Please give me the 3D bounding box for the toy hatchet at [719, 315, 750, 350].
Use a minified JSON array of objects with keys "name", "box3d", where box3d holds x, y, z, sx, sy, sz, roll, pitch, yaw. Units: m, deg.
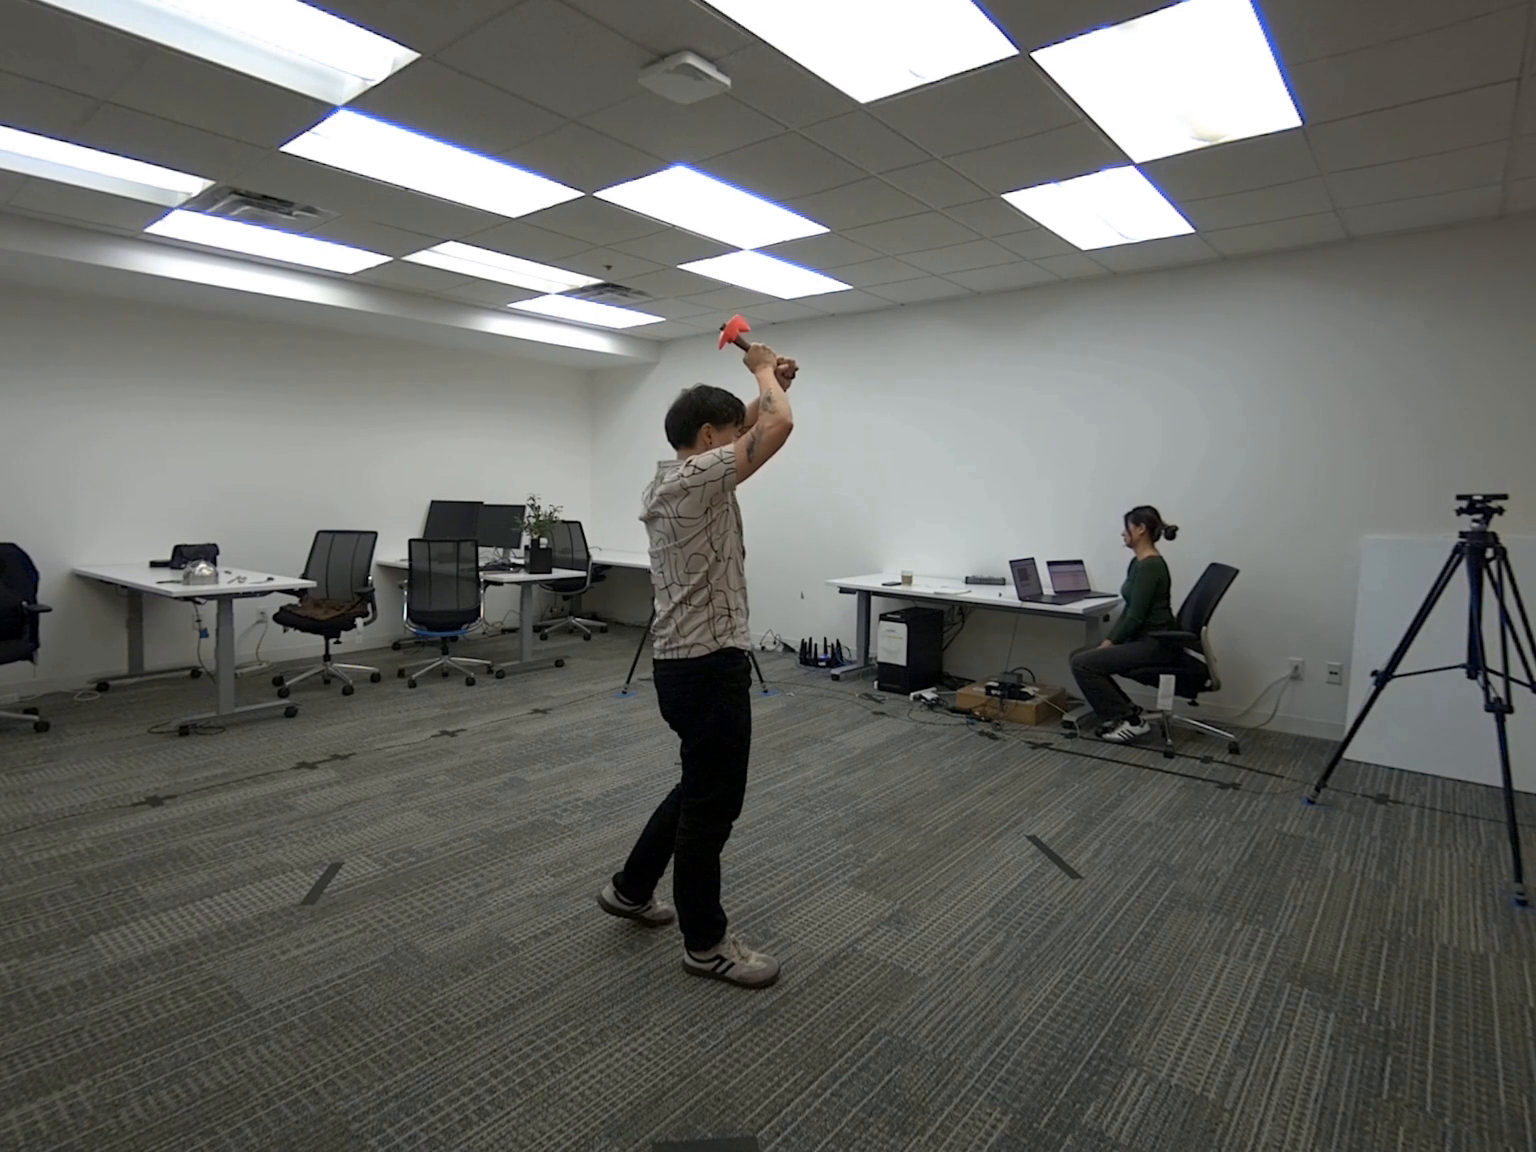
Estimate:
[{"name":"toy hatchet","box3d":[-0.030,-0.686,2.502,0.263,0.133,0.030,14,-19,-22]}]
